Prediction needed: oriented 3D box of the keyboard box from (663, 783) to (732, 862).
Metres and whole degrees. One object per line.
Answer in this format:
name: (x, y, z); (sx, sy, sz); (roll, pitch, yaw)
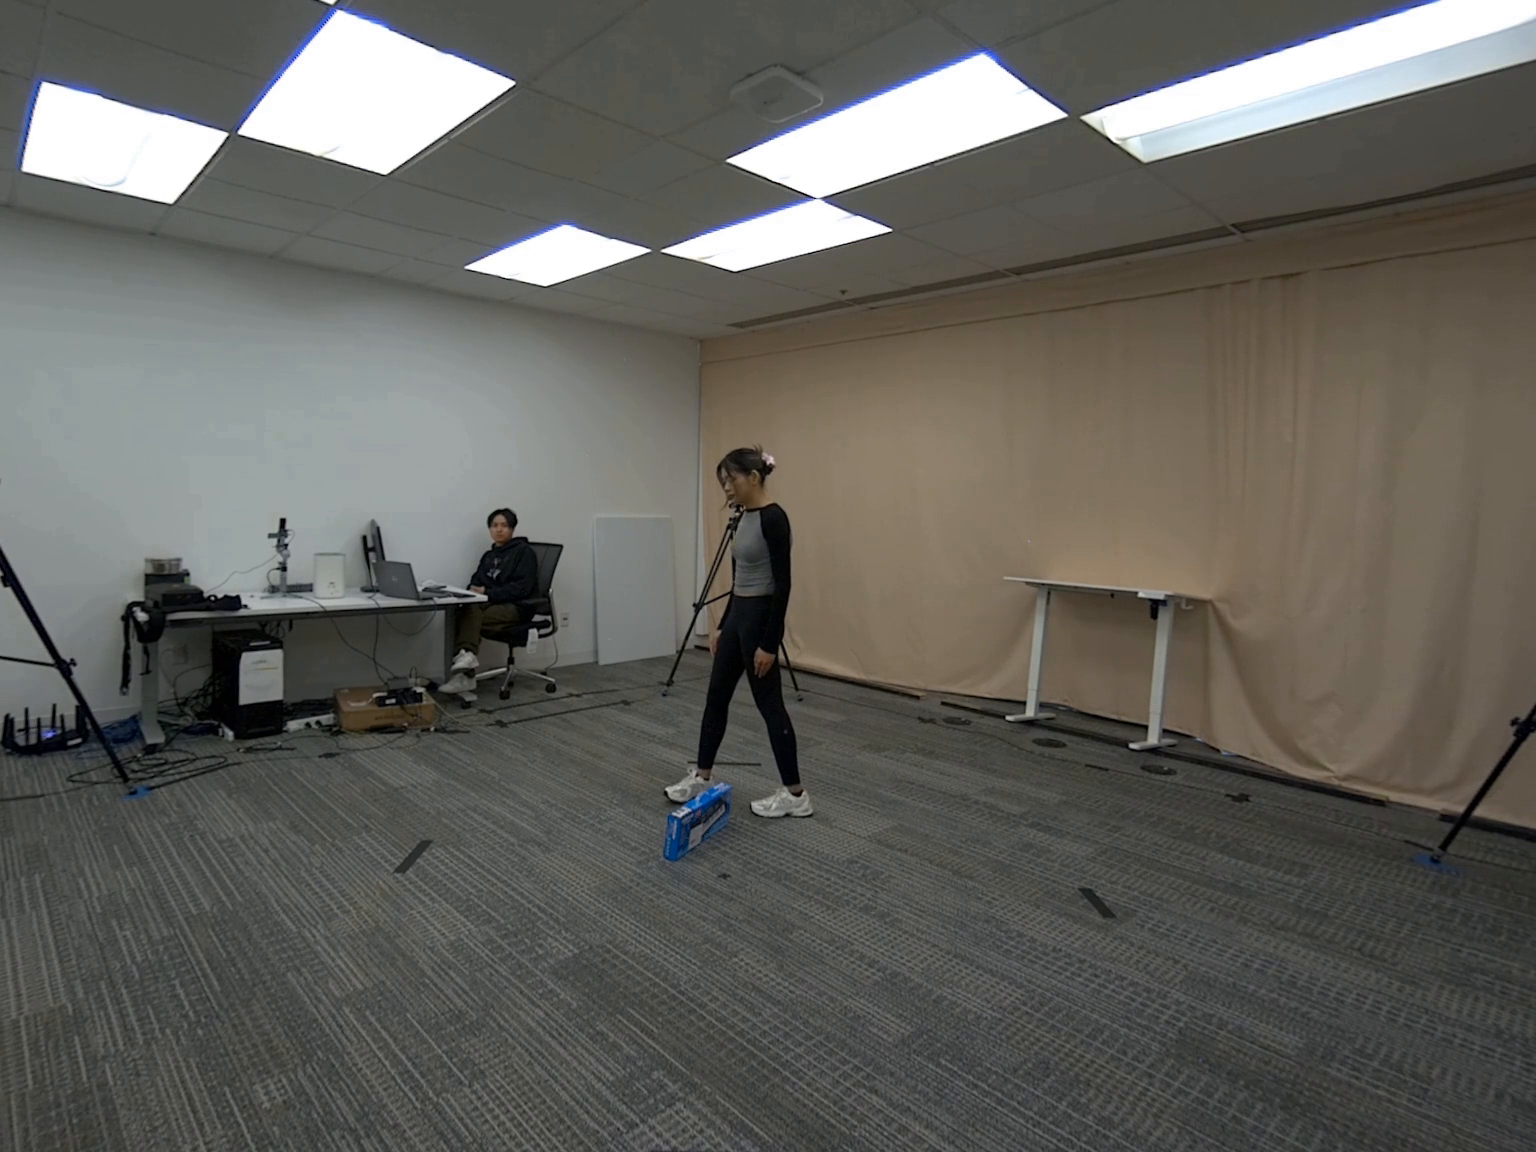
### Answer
keyboard box: (-0.286, 0.990, 3.412); (0.060, 0.175, 0.429); (10, 8, 24)
